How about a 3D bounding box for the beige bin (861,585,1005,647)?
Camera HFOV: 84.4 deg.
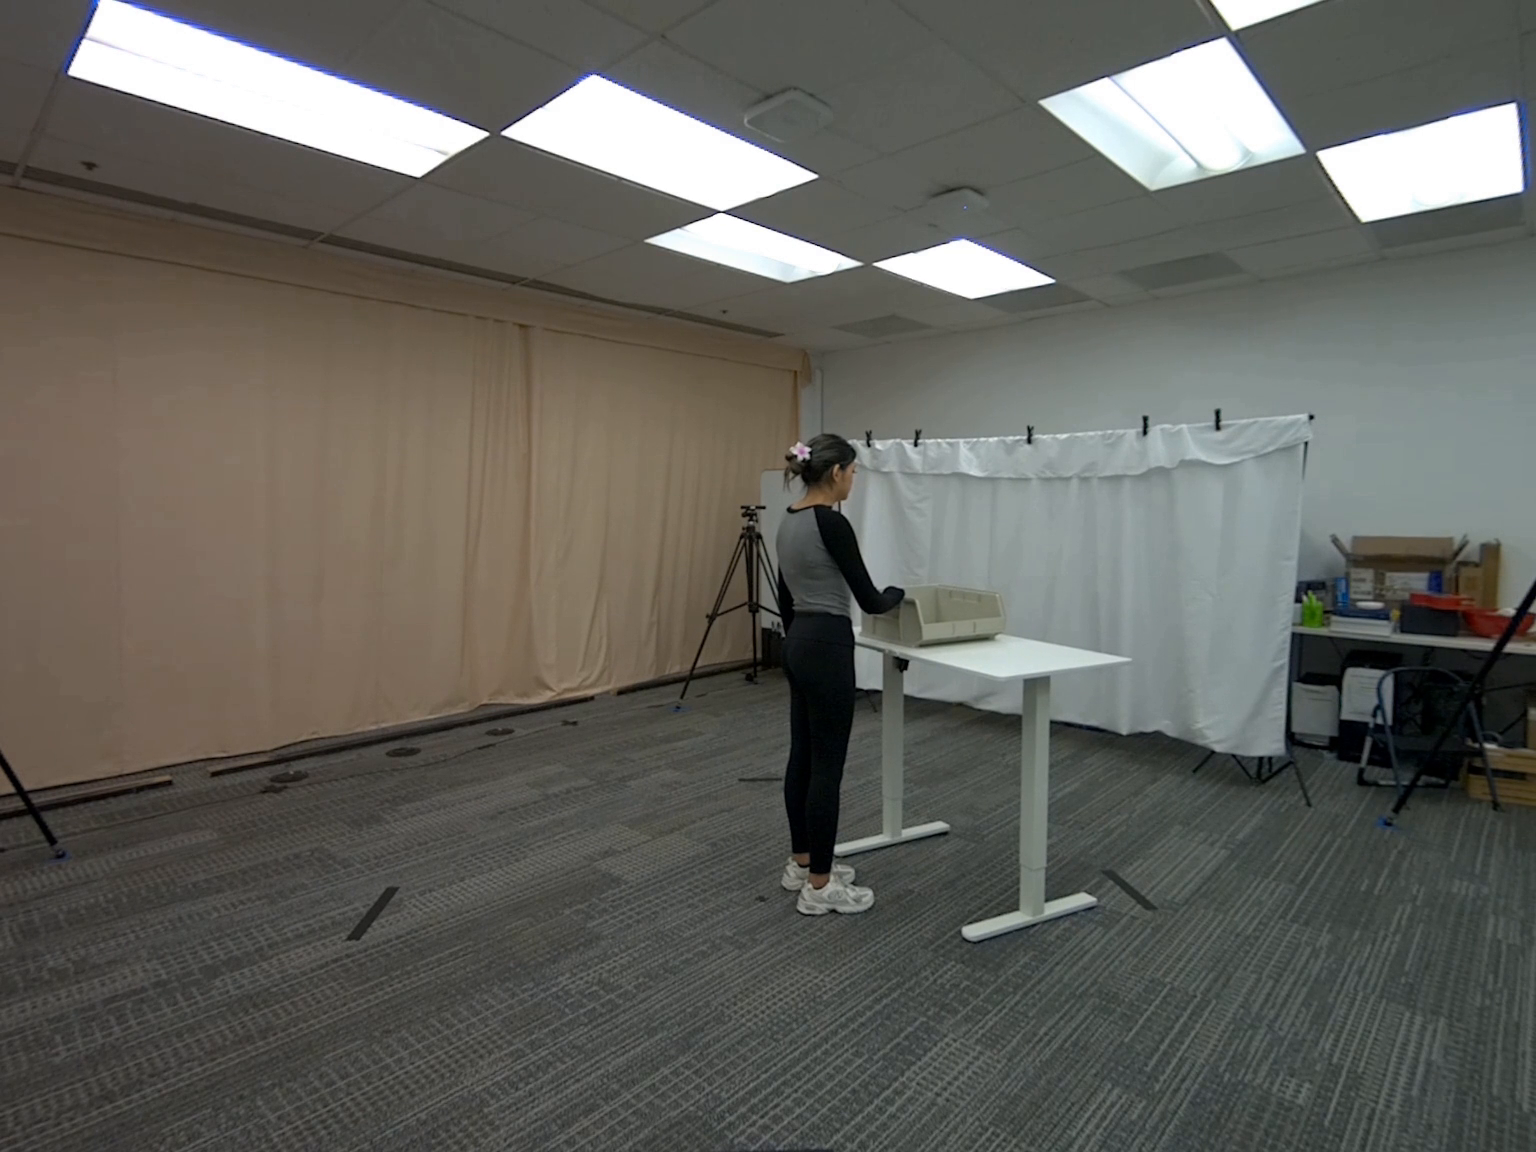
[{"bbox_3d":[0.626,0.152,3.217,0.411,0.188,0.388,-3,5,-29],"label":"beige bin"}]
